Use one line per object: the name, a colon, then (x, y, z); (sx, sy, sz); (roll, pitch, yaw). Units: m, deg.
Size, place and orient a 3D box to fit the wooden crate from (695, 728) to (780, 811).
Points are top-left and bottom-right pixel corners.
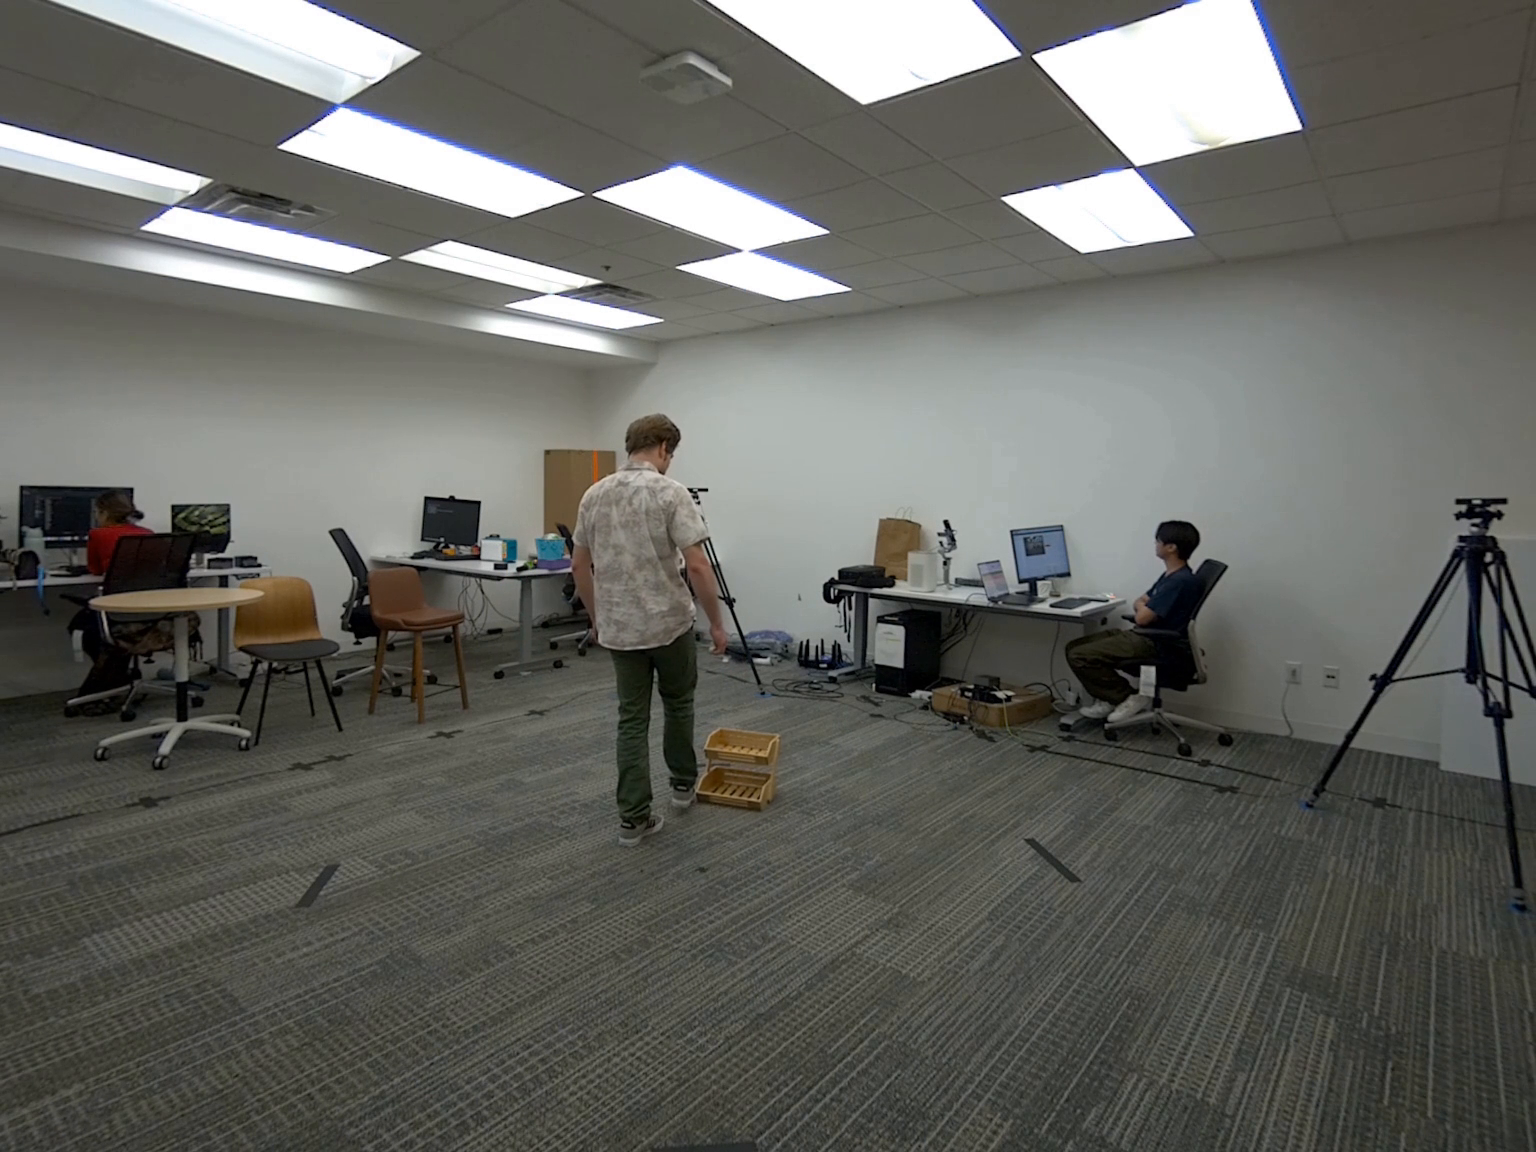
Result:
wooden crate: (-0.144, 0.864, 3.860); (0.331, 0.272, 0.297); (2, 4, 18)
